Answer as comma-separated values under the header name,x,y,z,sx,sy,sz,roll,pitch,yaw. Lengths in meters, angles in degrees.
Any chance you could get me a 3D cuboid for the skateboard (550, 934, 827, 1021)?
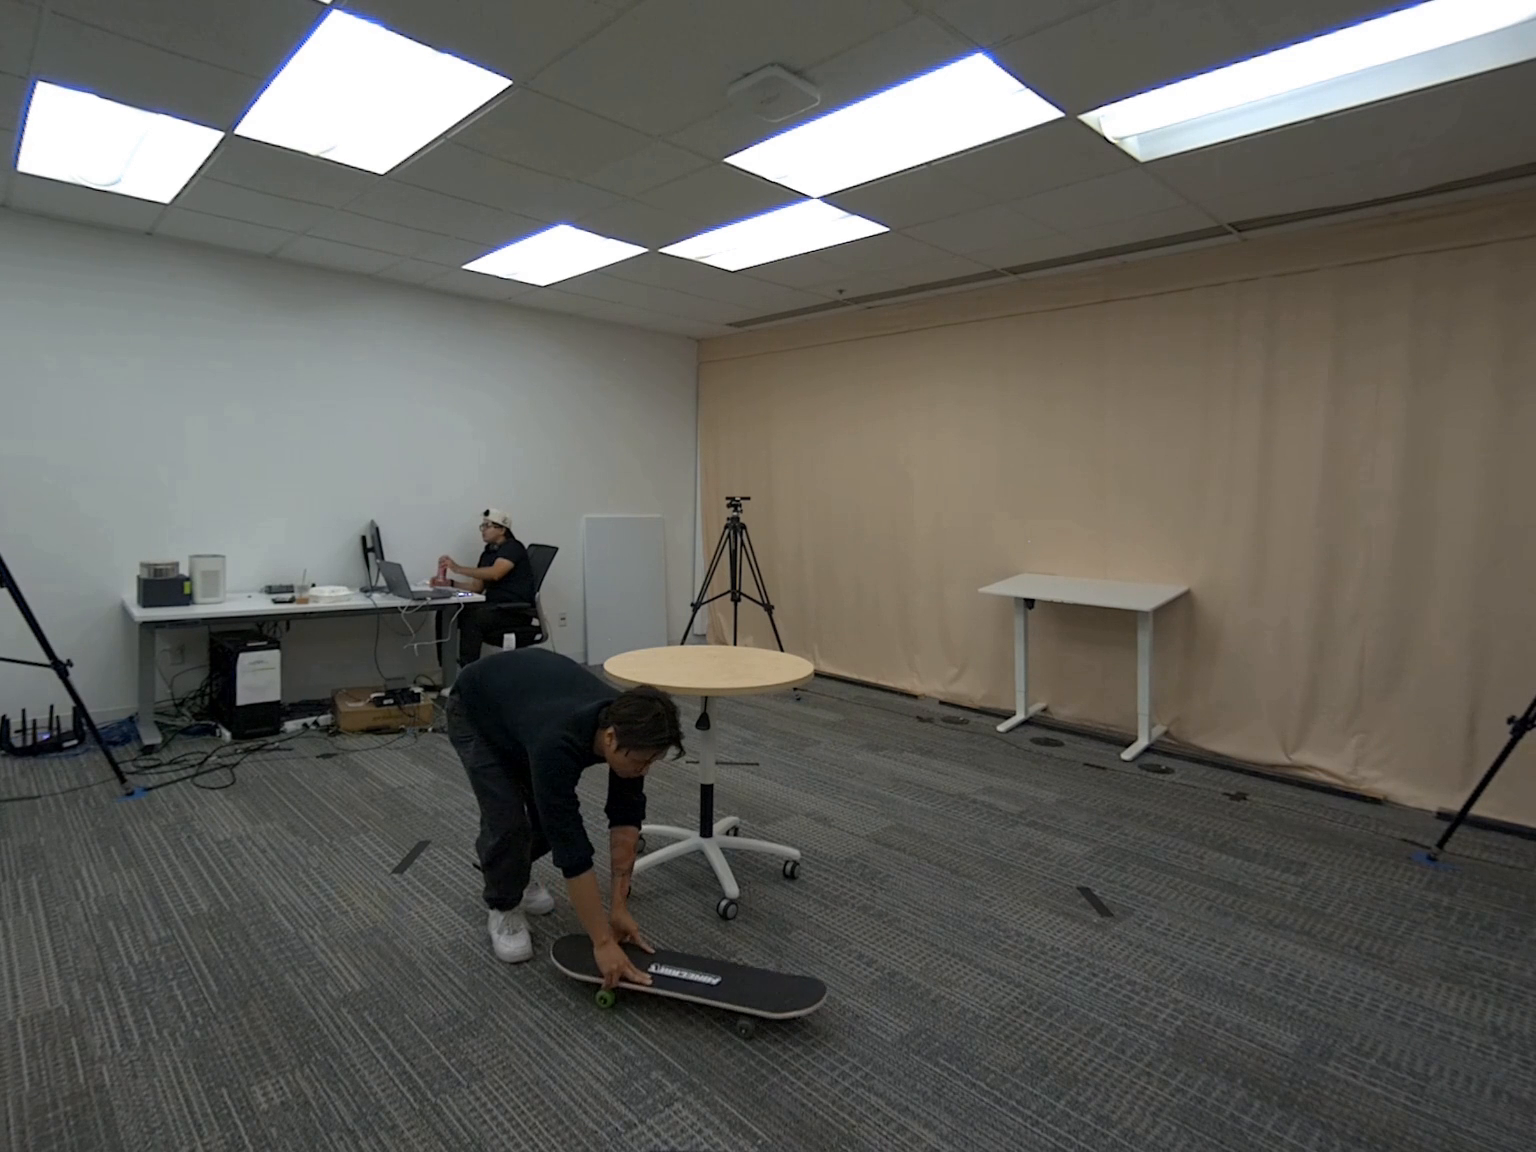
name,x,y,z,sx,sy,sz,roll,pitch,yaw
skateboard,-0.237,1.122,2.301,0.795,0.110,0.191,2,5,15
